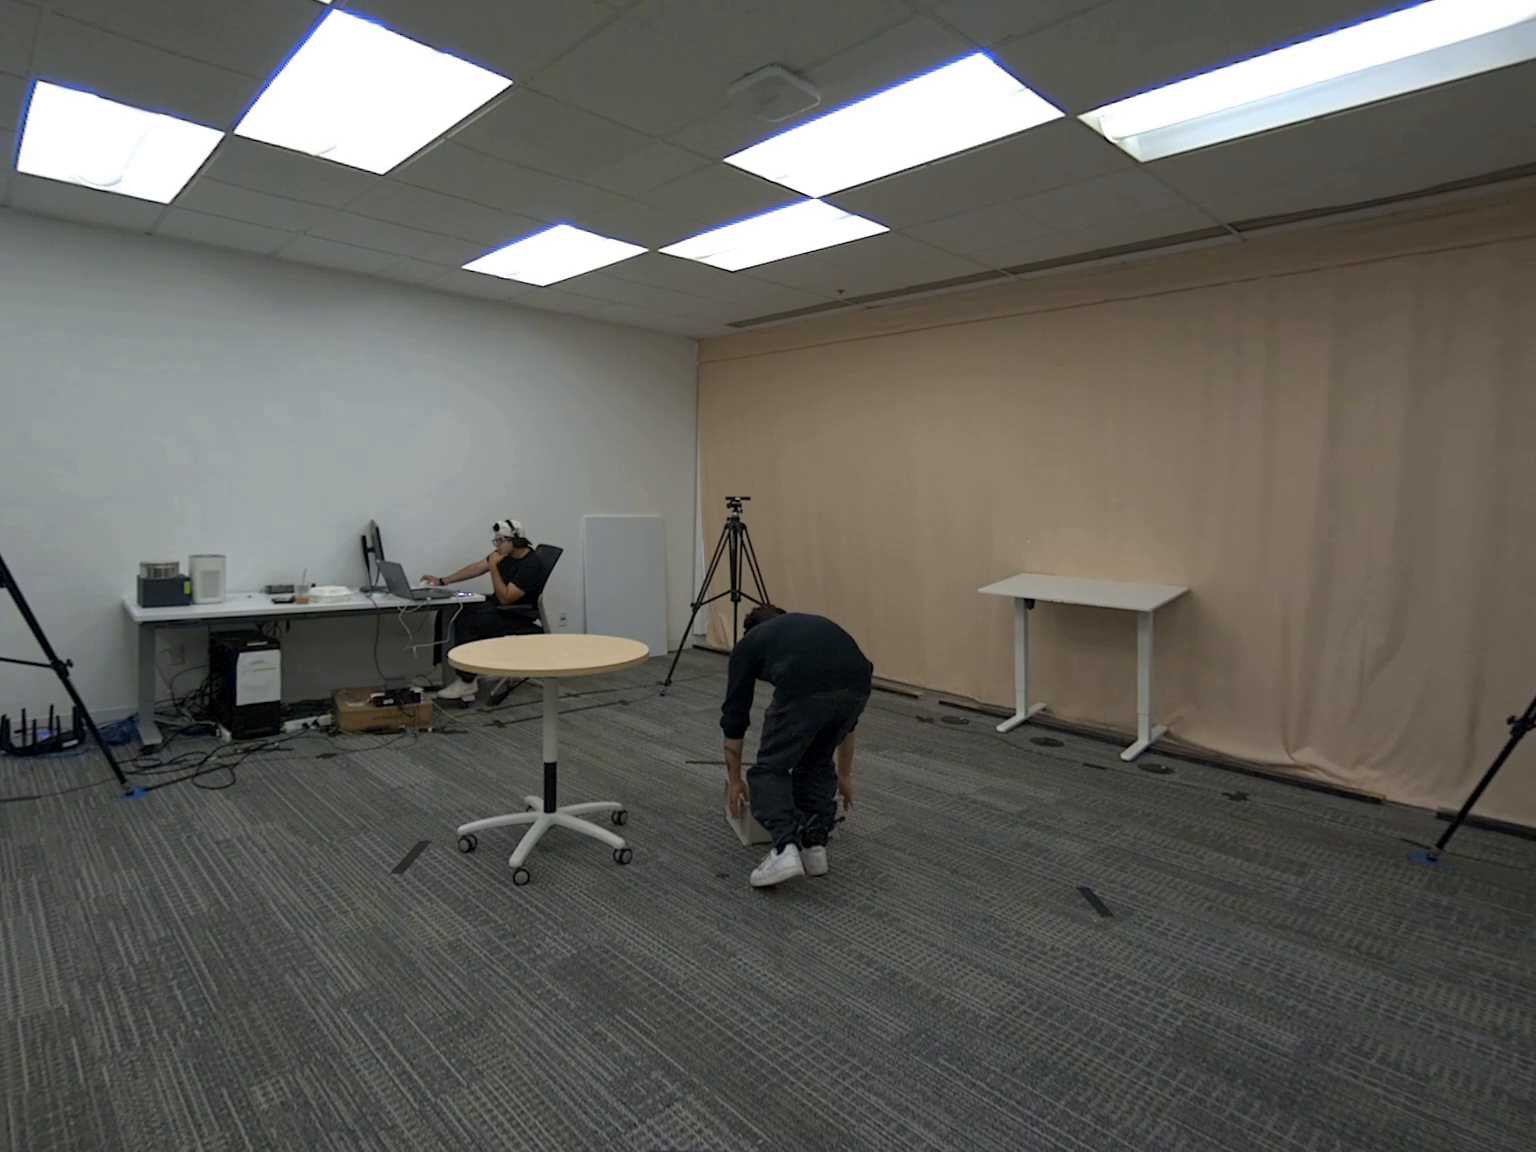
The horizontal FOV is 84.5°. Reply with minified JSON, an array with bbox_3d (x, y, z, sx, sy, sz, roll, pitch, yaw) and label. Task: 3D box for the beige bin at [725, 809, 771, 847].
[{"bbox_3d":[0.051,0.981,3.591,0.417,0.188,0.383,1,5,-15],"label":"beige bin"}]
